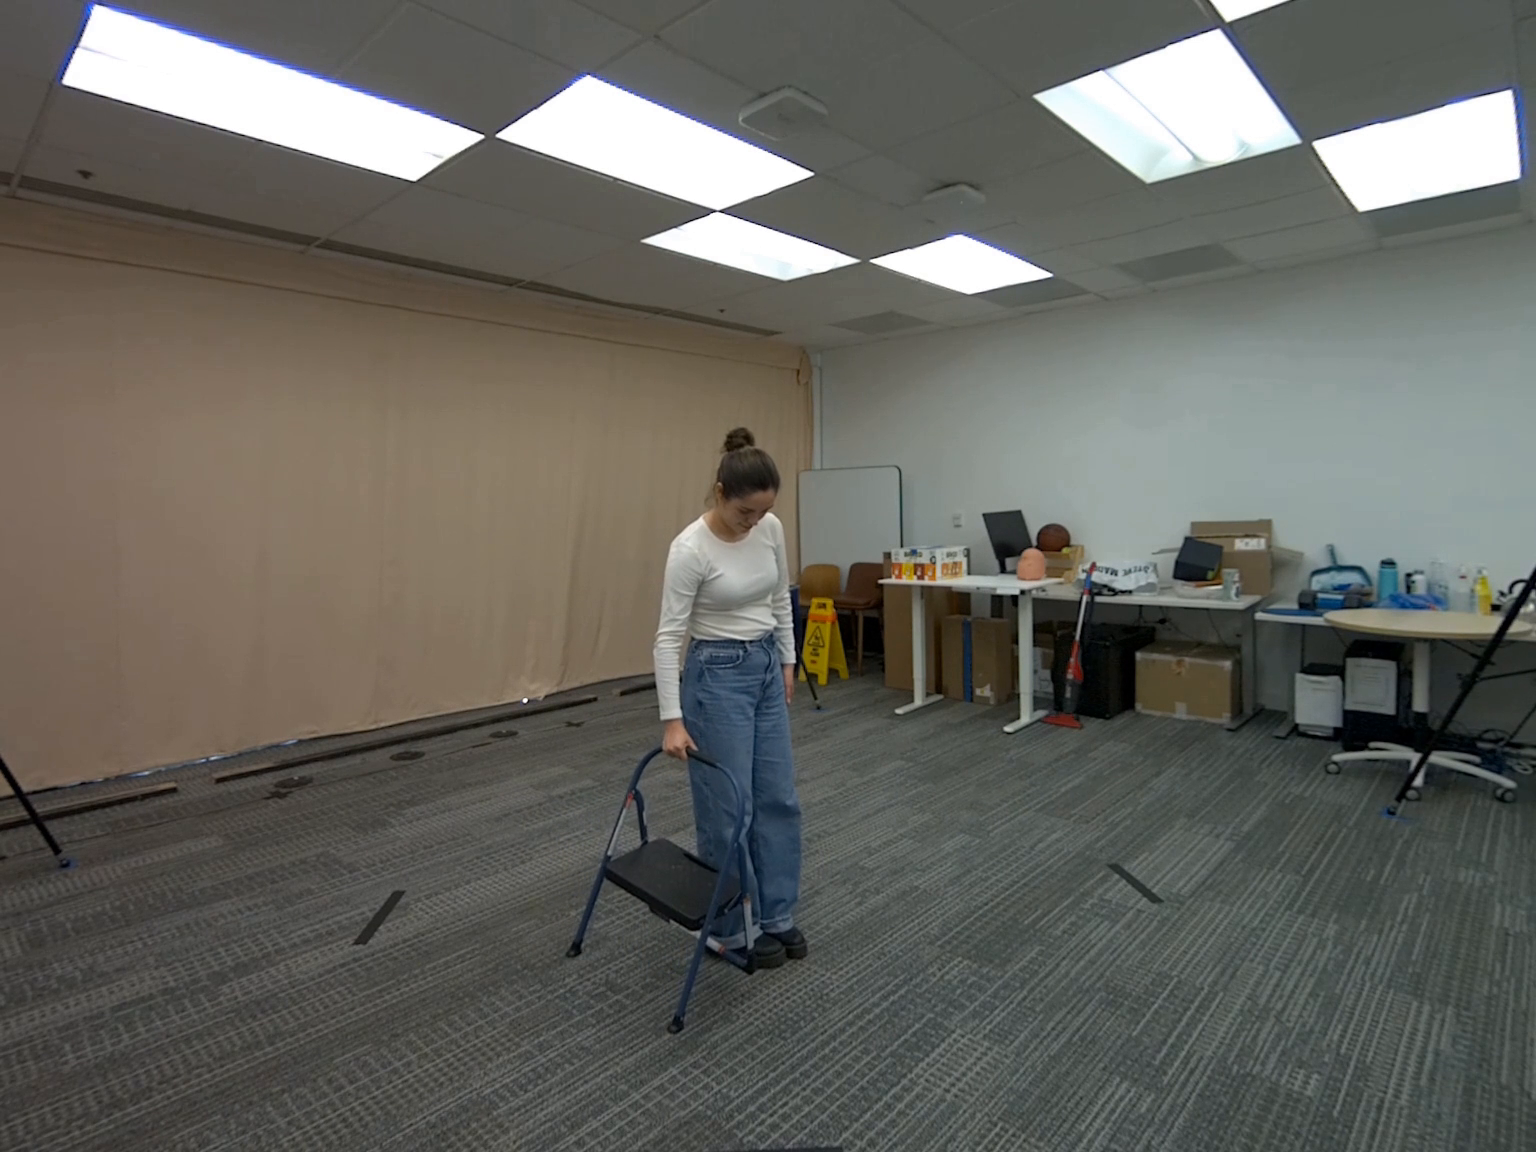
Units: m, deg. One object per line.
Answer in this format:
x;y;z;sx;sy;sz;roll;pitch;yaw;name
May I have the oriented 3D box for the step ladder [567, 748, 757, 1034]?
-0.268;0.805;2.316;0.446;0.603;0.339;14;12;38;step ladder
